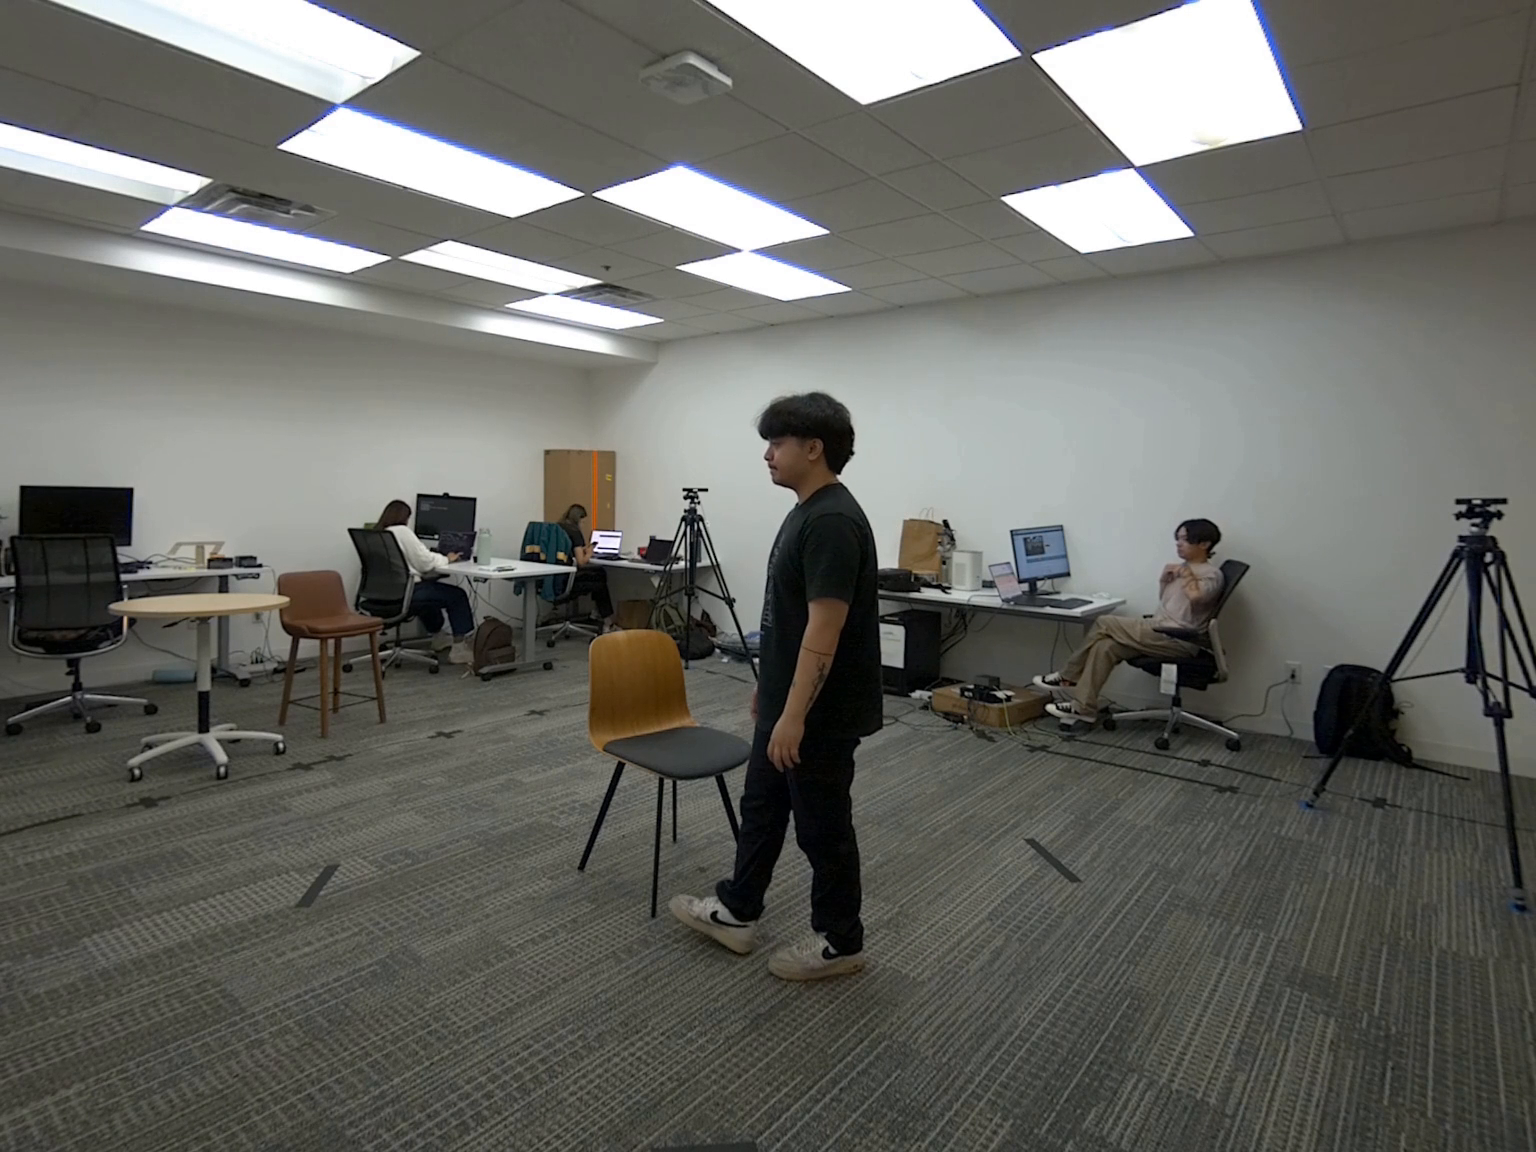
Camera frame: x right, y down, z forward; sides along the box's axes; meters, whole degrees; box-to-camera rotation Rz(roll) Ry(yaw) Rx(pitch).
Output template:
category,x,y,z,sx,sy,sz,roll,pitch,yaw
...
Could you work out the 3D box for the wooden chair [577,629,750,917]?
category,x,y,z,sx,sy,sz,roll,pitch,yaw
wooden chair,-0.364,0.647,3.027,0.463,0.878,0.539,-2,0,-43
